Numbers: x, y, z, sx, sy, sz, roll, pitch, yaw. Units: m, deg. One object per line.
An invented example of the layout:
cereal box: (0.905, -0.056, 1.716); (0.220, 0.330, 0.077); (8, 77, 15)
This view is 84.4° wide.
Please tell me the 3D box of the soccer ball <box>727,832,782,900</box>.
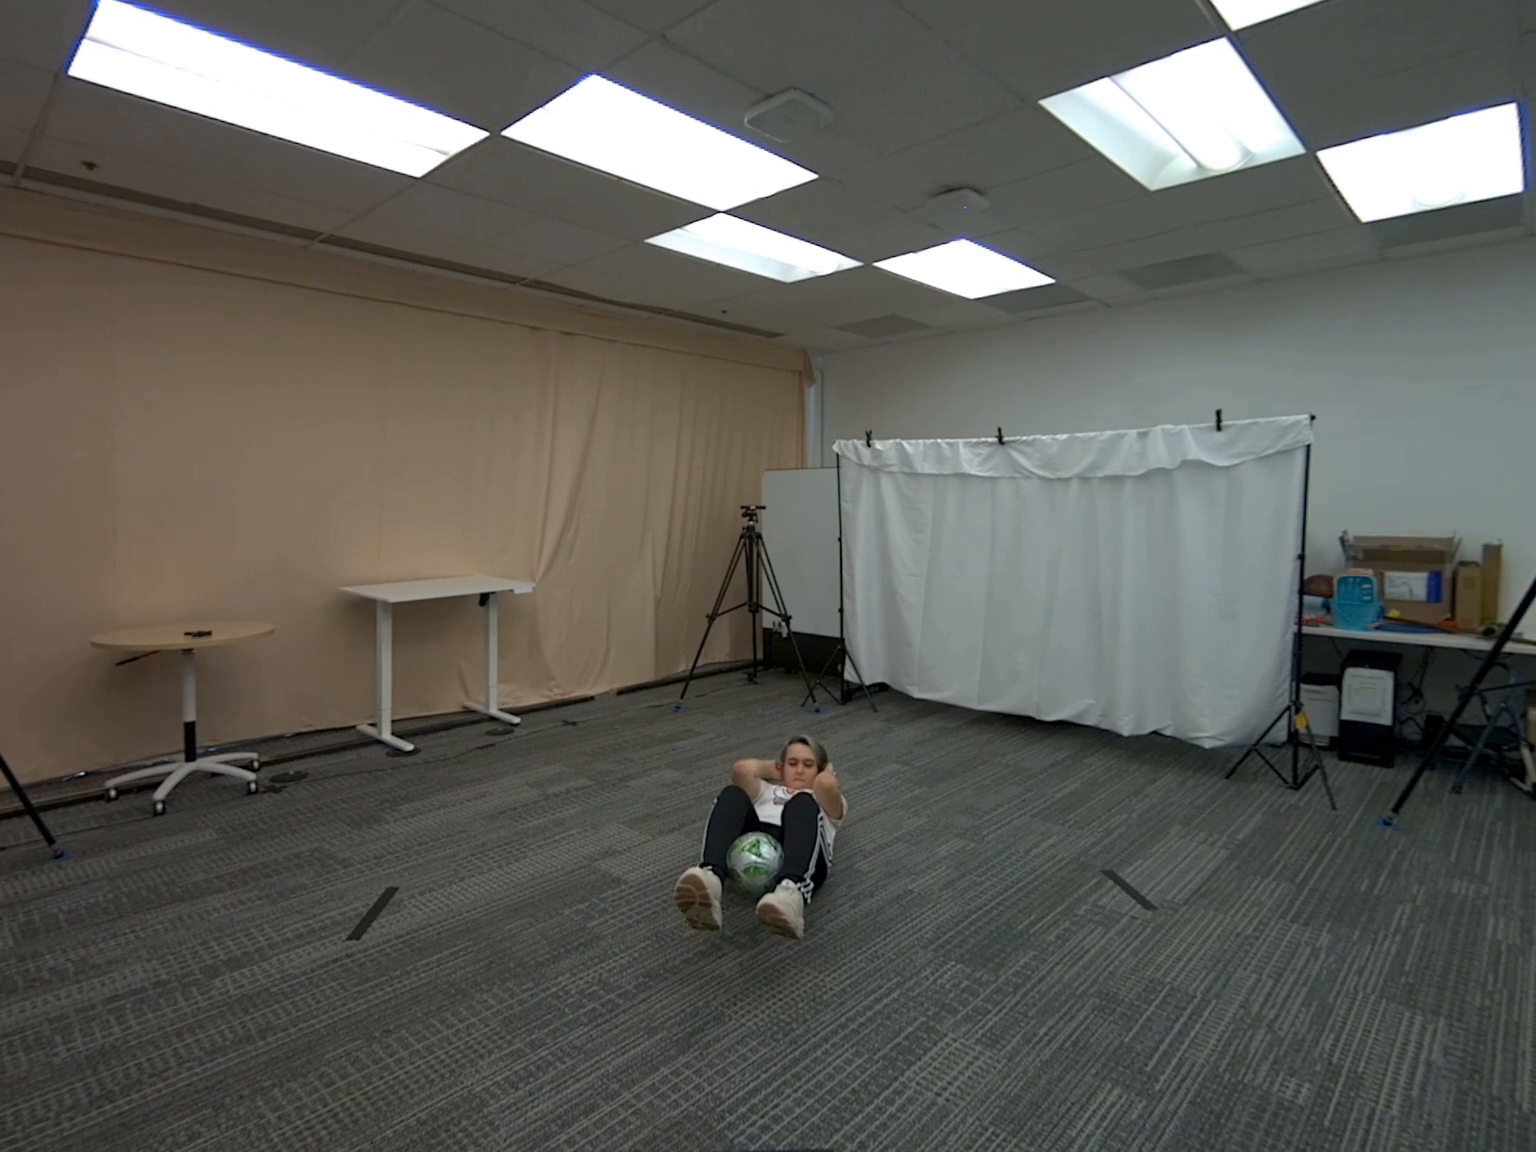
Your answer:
soccer ball: (-0.033, 0.881, 2.594); (0.187, 0.187, 0.188); (0, 4, -2)
